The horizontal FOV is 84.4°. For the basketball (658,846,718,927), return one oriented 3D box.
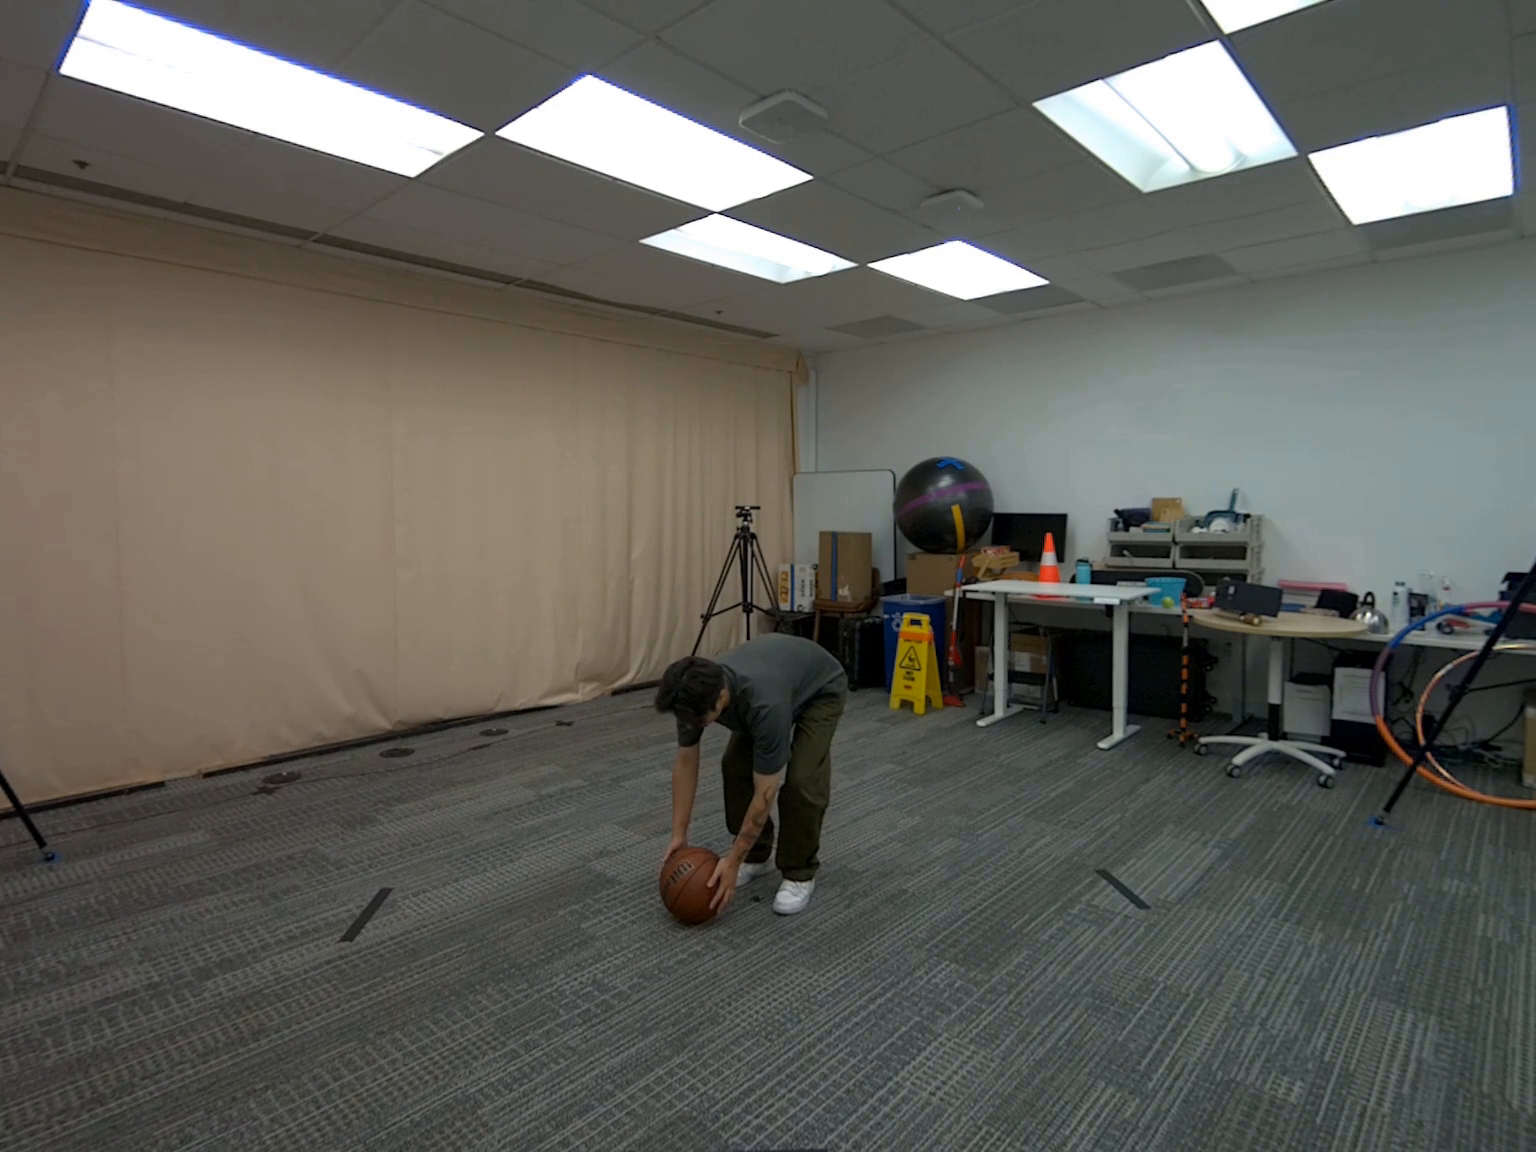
[{"bbox_3d":[-0.243,1.033,2.837,0.236,0.235,0.237,0,4,-2],"label":"basketball"}]
